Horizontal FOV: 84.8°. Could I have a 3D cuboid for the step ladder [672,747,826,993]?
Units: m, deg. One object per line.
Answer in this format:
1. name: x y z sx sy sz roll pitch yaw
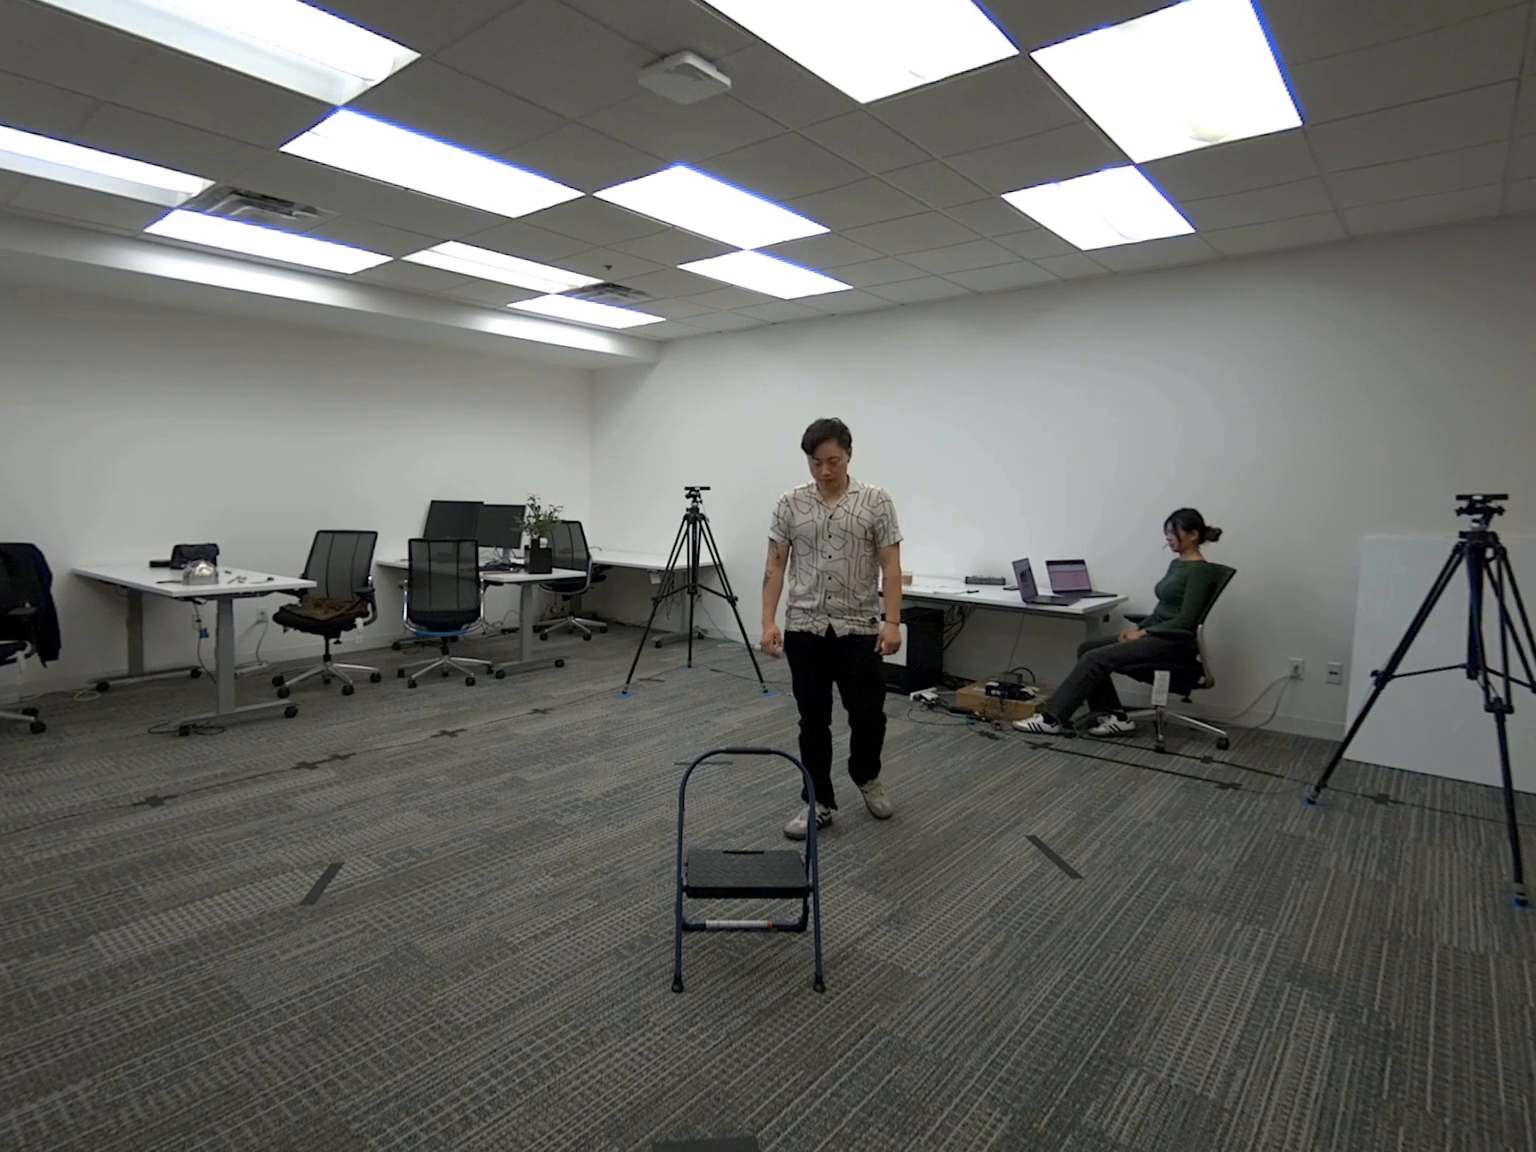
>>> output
1. step ladder: -0.070 0.831 2.505 0.429 0.604 0.352 0 4 -4
